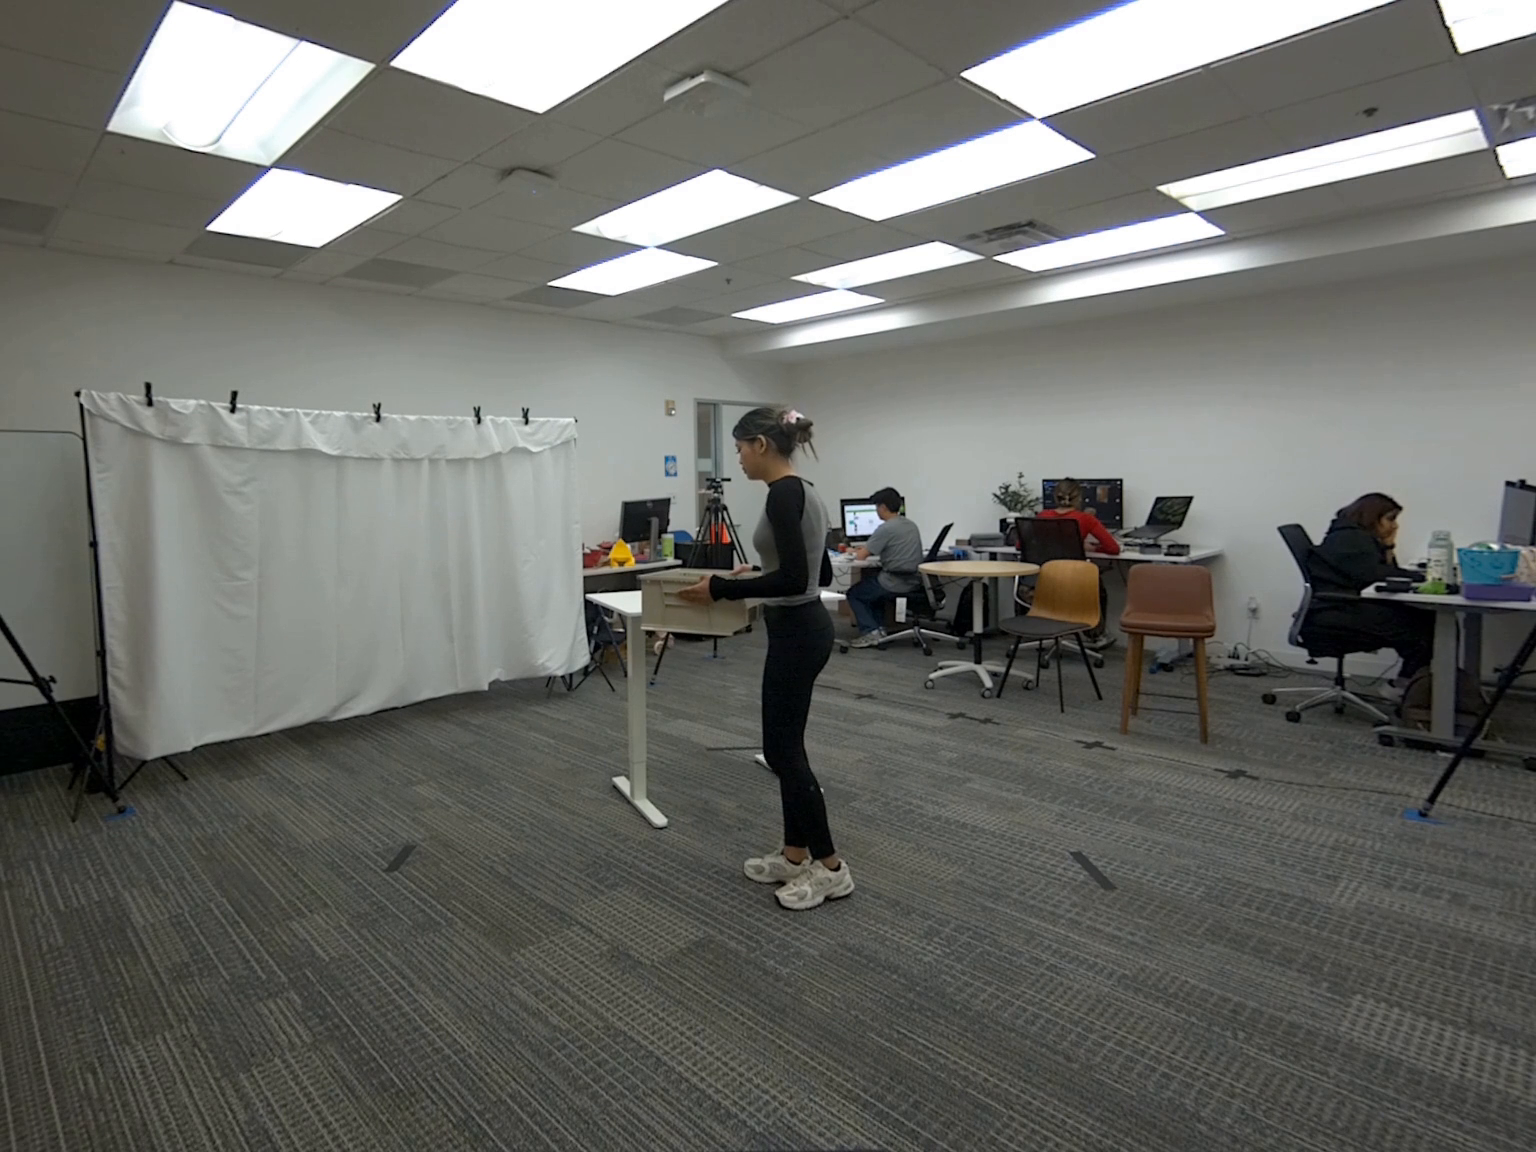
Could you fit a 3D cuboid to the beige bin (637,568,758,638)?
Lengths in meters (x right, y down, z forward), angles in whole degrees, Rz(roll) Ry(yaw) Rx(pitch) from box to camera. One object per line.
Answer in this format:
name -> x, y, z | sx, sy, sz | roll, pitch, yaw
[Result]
beige bin -> -0.202, 0.081, 2.960 | 0.382, 0.188, 0.418 | 0, 5, 13
